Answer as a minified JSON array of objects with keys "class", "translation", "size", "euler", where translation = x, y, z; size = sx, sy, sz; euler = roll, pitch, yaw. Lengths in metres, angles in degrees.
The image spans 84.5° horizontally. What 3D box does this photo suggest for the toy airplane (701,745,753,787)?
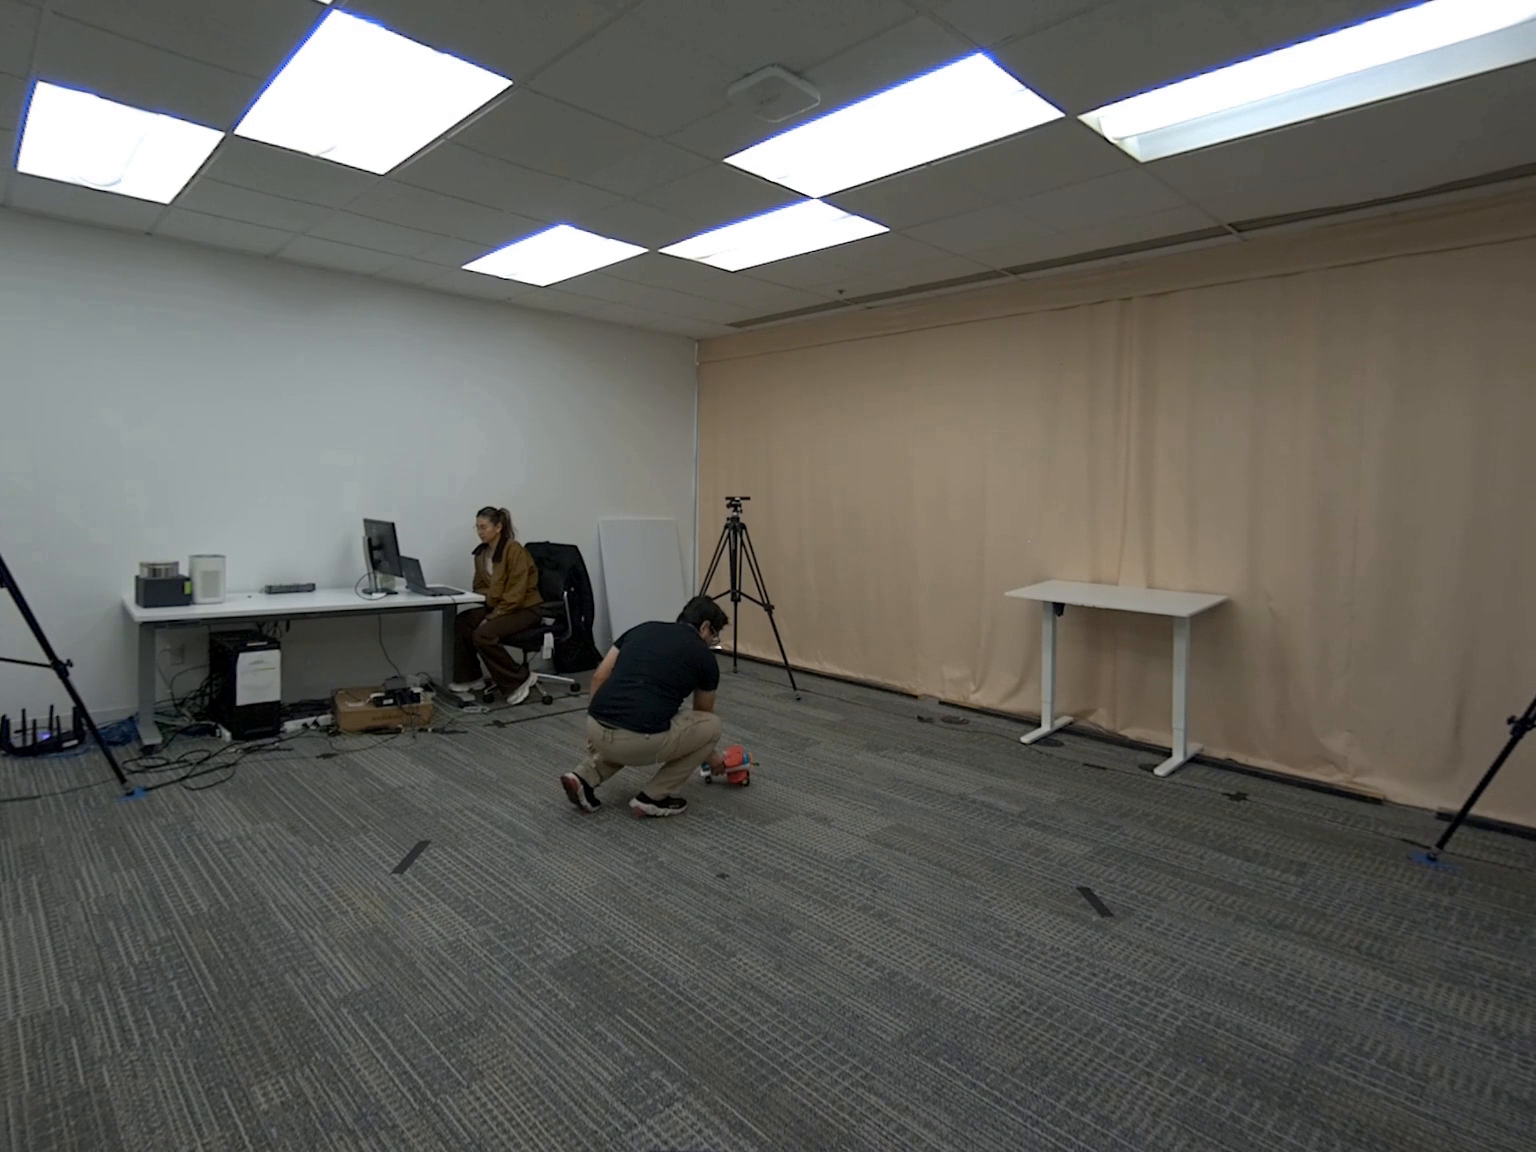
[{"class":"toy airplane","translation":[-0.211,0.943,4.119],"size":[0.254,0.155,0.257],"euler":[-3,9,-27]}]
